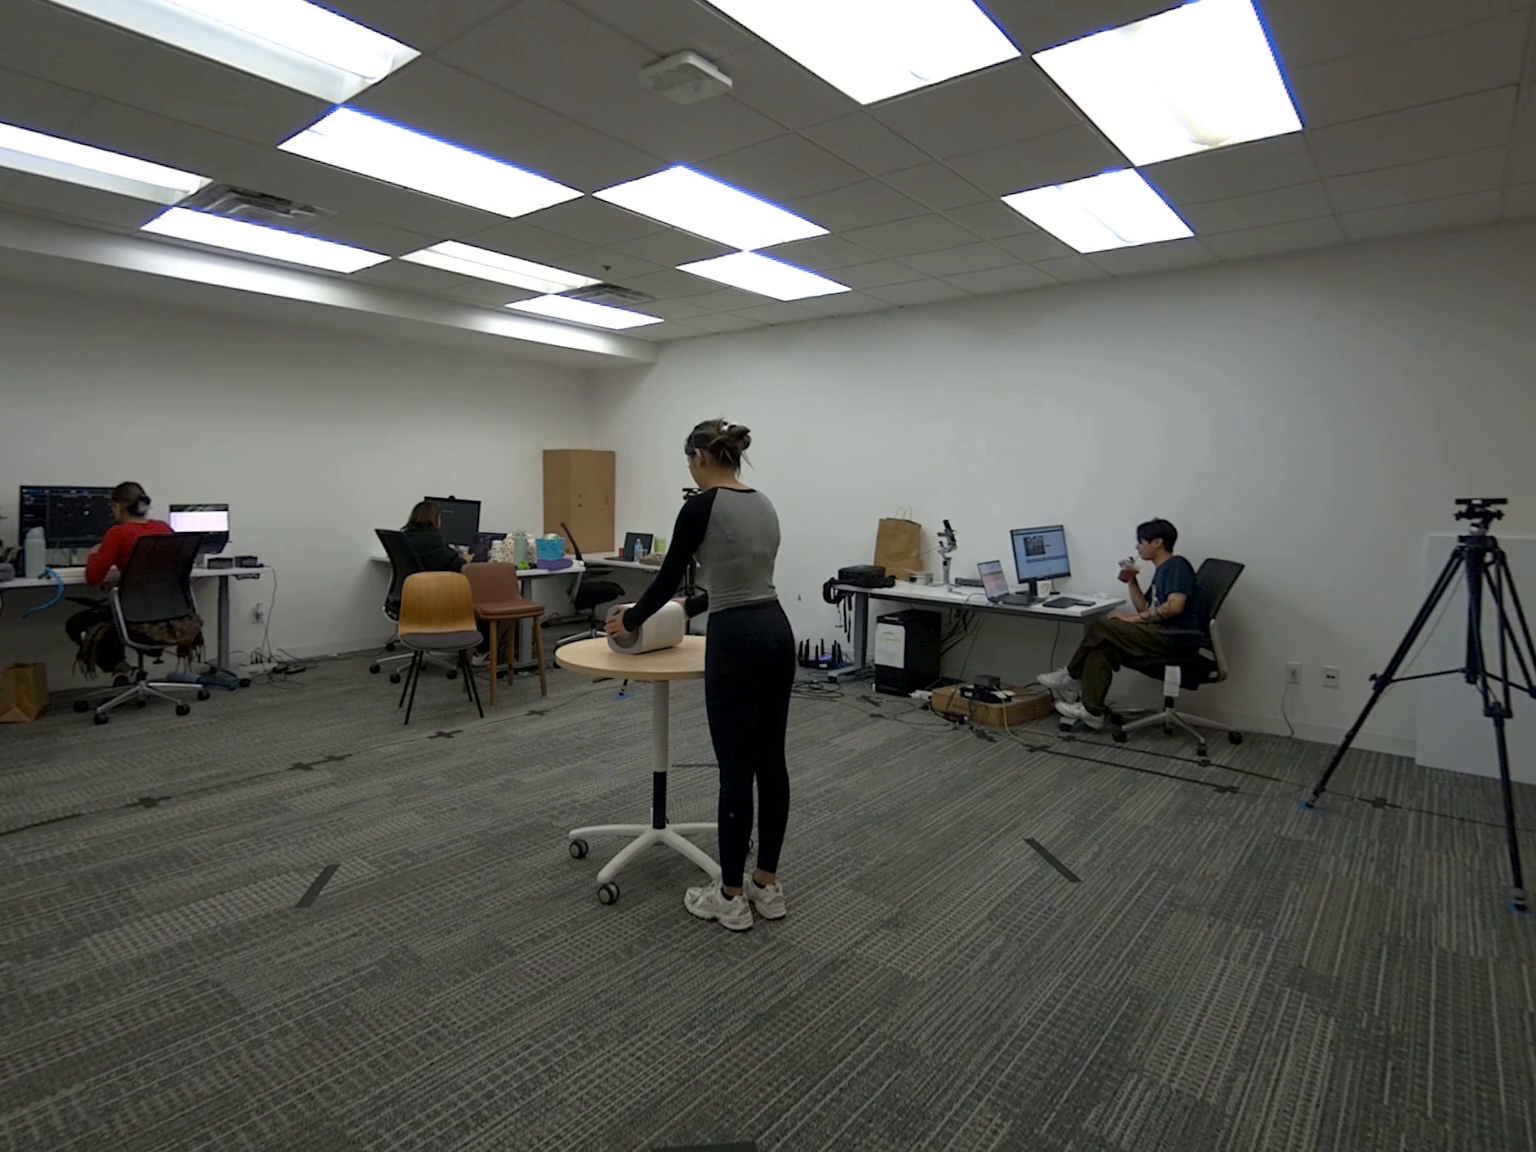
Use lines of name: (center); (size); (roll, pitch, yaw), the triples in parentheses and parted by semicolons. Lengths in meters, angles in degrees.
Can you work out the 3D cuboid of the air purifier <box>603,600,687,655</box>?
air purifier: (-0.458, 0.181, 3.155); (0.176, 0.171, 0.258); (2, 4, 34)
